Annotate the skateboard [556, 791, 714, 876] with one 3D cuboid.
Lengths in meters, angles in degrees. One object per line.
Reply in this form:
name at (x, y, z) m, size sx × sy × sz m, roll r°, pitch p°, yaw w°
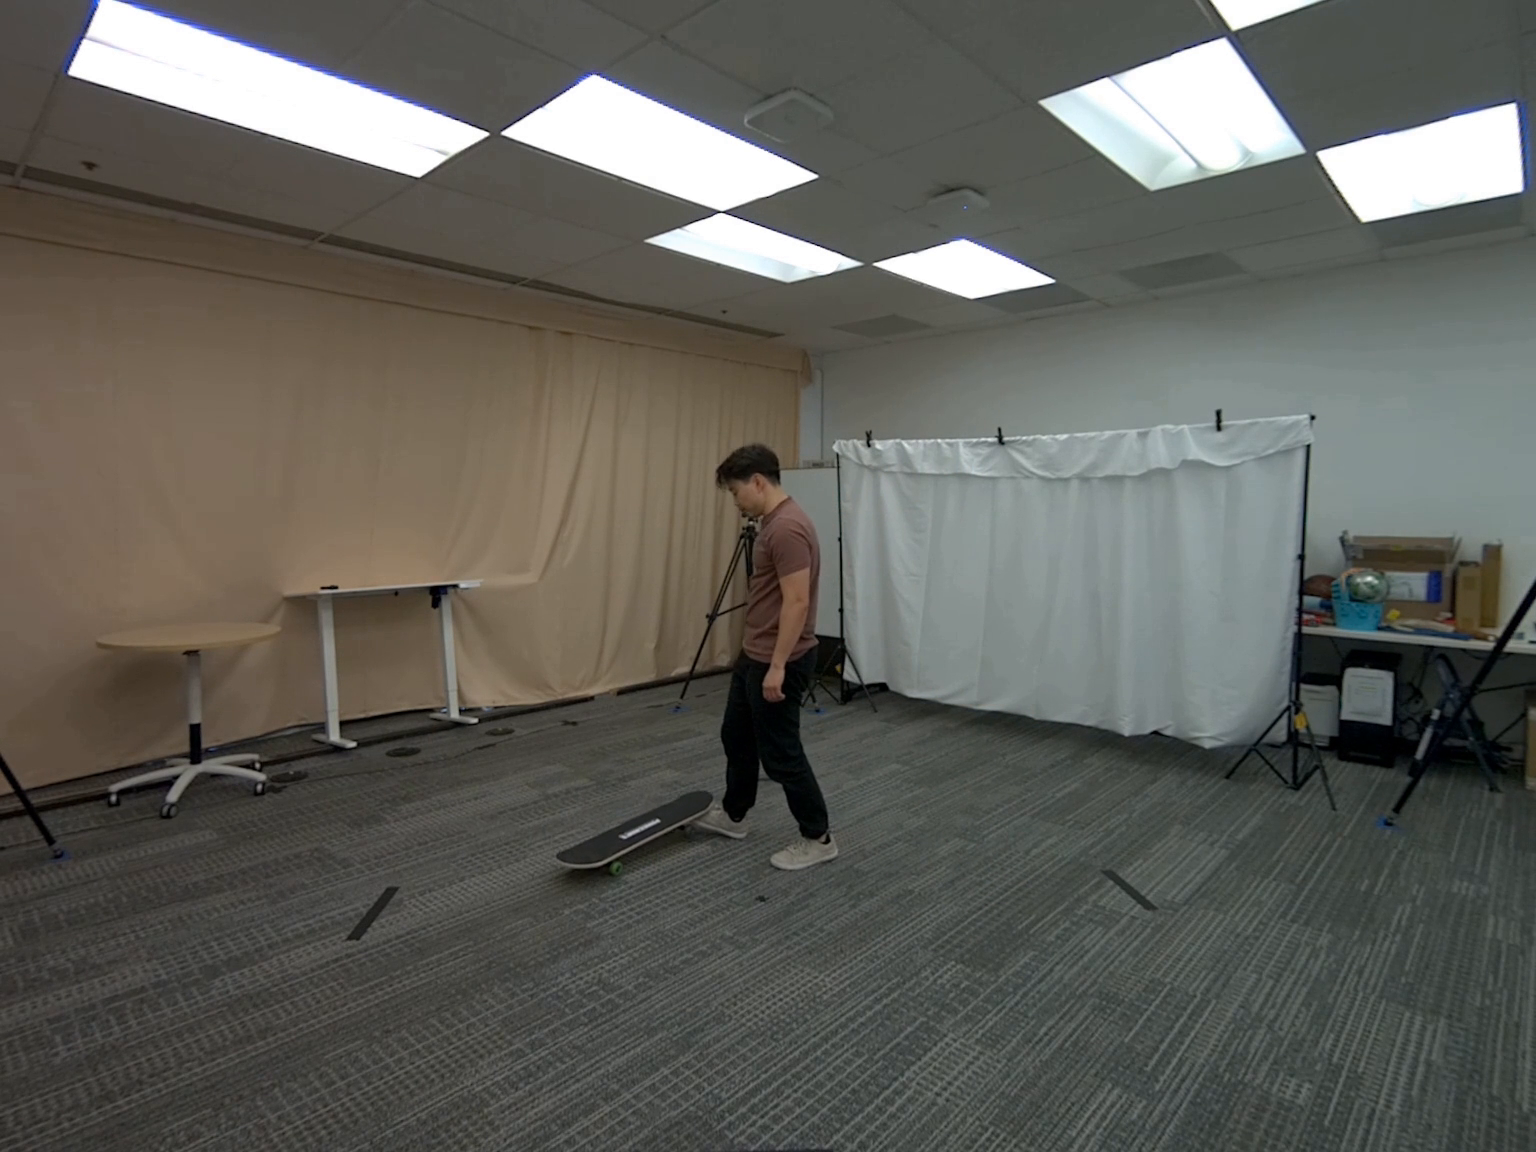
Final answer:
skateboard at (-0.508, 1.046, 3.383) m, size 0.200 × 0.110 × 0.764 m, roll 3°, pitch 10°, yaw 41°
